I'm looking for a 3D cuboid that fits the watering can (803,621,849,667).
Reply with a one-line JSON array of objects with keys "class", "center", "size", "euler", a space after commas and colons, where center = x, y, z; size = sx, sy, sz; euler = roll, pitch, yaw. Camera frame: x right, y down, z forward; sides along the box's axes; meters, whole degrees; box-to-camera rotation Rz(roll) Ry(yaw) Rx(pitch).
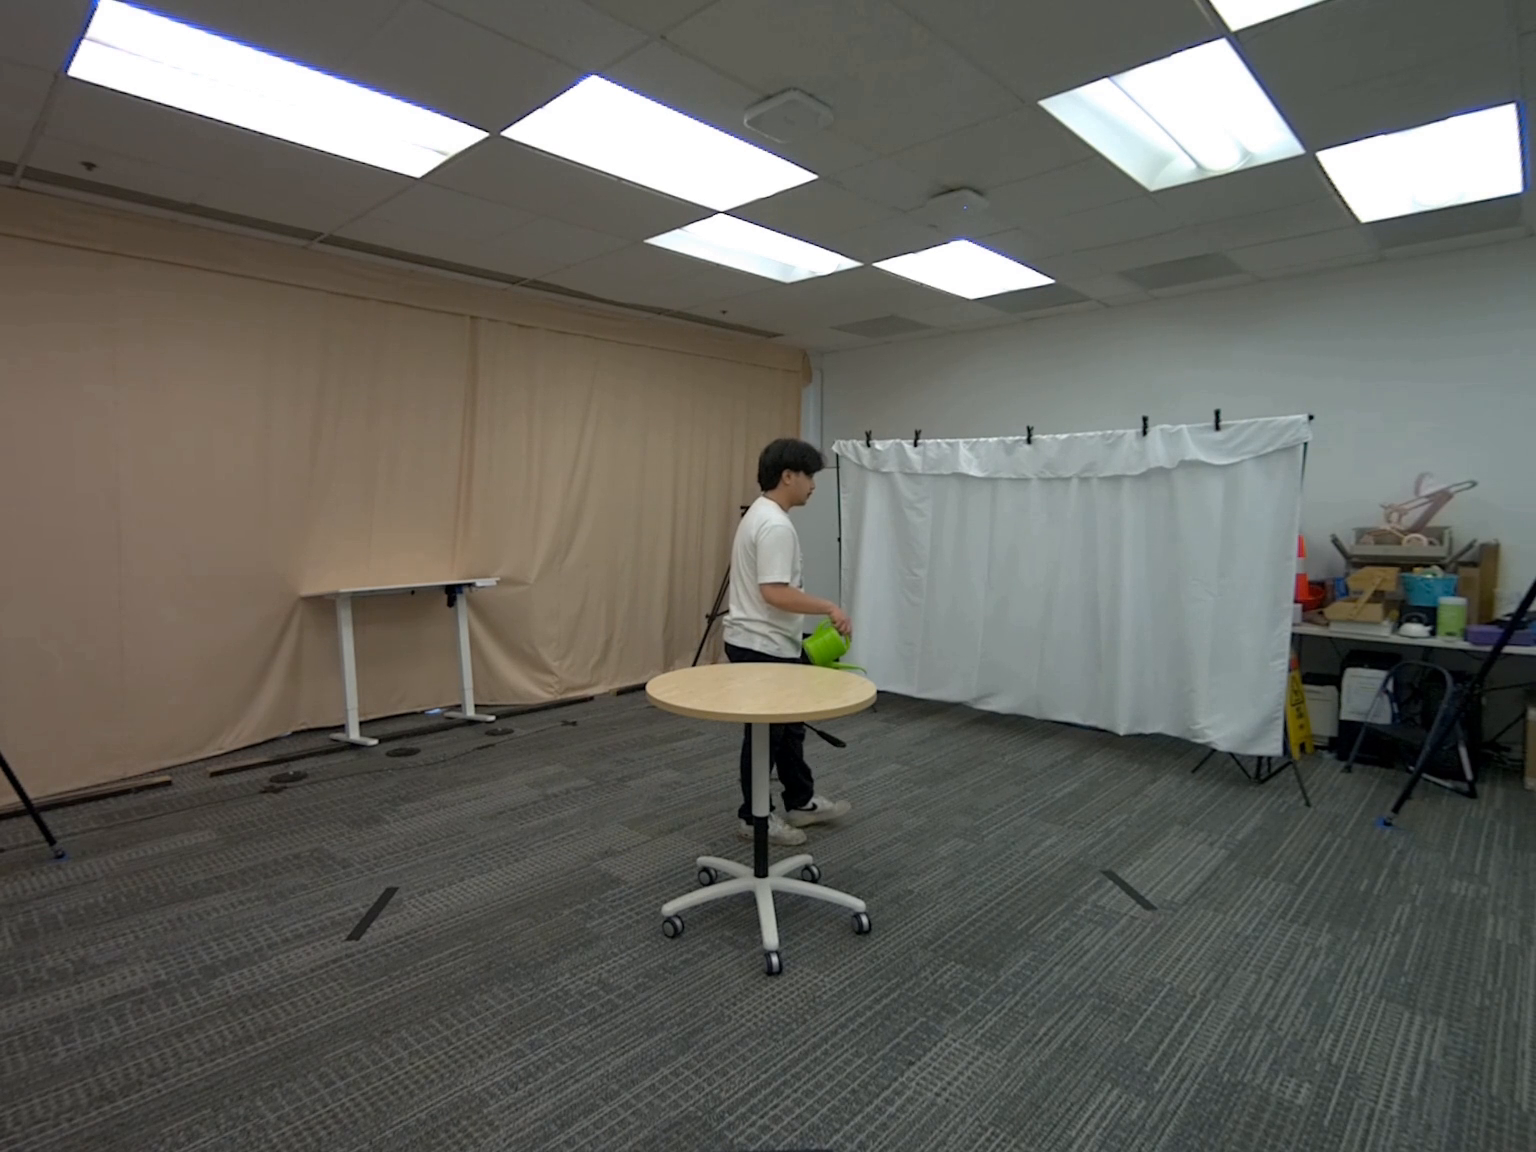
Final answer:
[{"class": "watering can", "center": [0.261, 0.312, 3.295], "size": [0.177, 0.279, 0.098], "euler": [-28, -2, 0]}]
